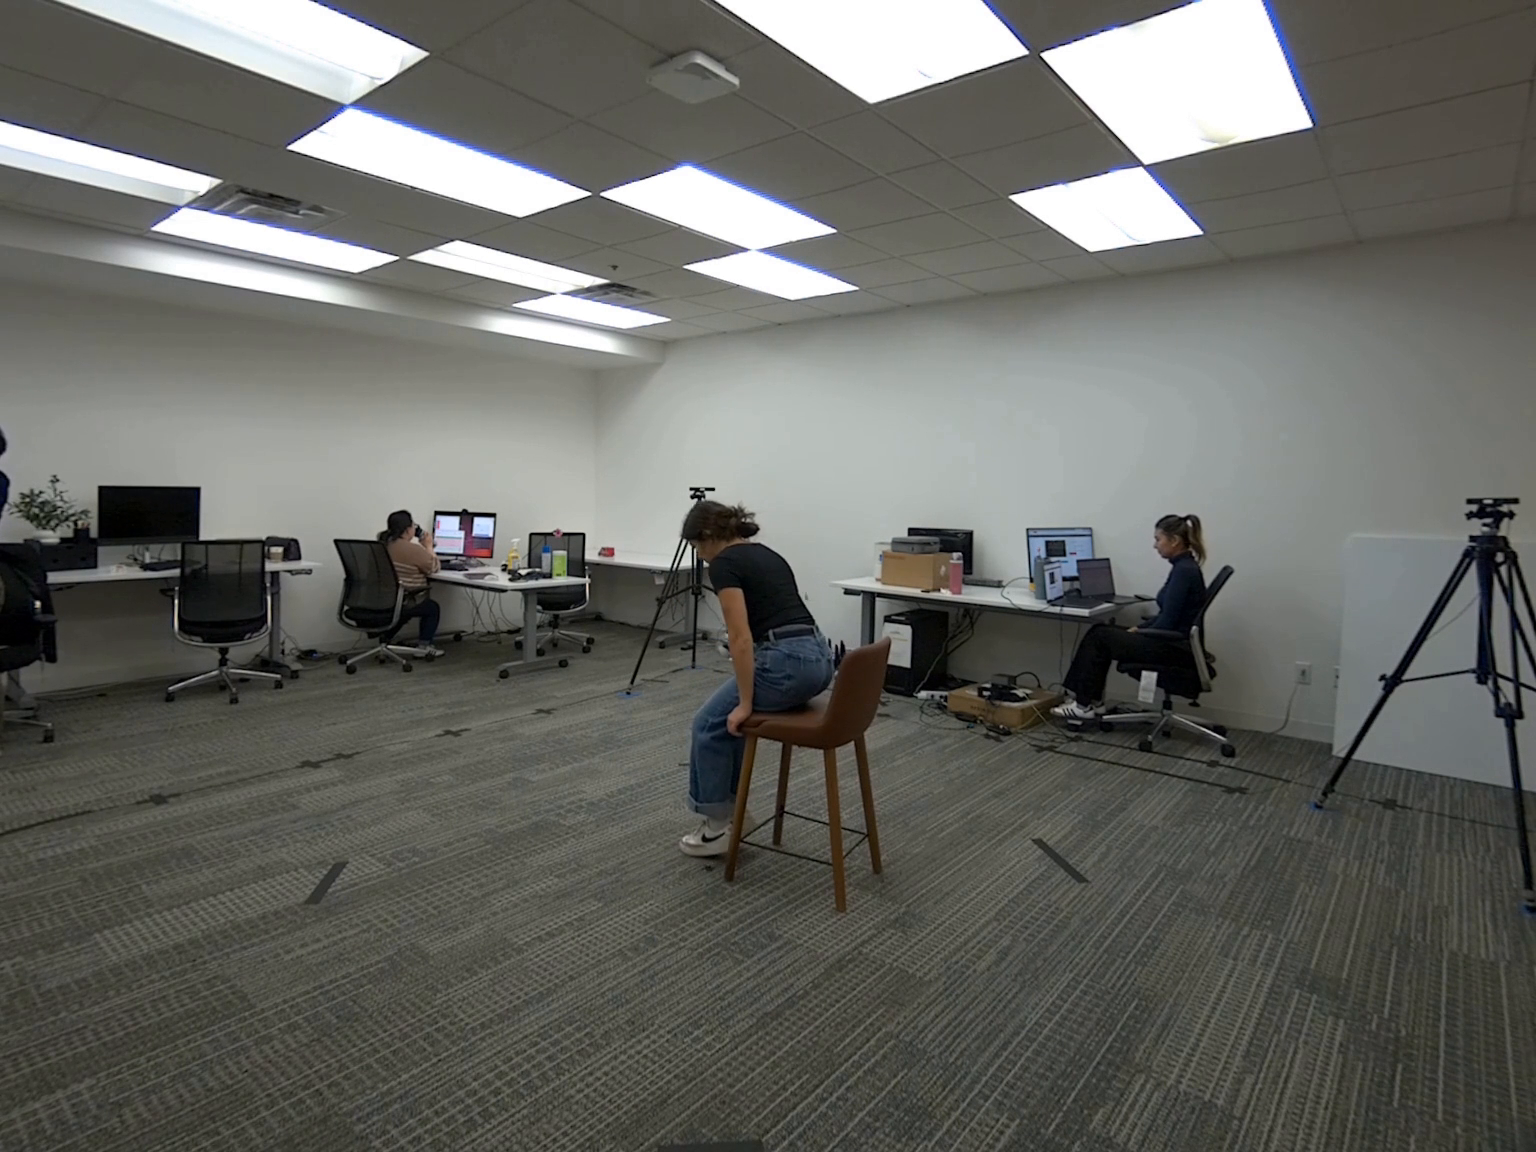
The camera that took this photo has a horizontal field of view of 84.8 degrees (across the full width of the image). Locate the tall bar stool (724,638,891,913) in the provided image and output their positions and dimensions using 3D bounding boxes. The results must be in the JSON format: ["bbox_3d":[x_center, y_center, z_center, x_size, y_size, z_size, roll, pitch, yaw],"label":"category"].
[{"bbox_3d":[0.142,0.645,3.050,0.481,0.887,0.444,4,4,30],"label":"tall bar stool"}]
